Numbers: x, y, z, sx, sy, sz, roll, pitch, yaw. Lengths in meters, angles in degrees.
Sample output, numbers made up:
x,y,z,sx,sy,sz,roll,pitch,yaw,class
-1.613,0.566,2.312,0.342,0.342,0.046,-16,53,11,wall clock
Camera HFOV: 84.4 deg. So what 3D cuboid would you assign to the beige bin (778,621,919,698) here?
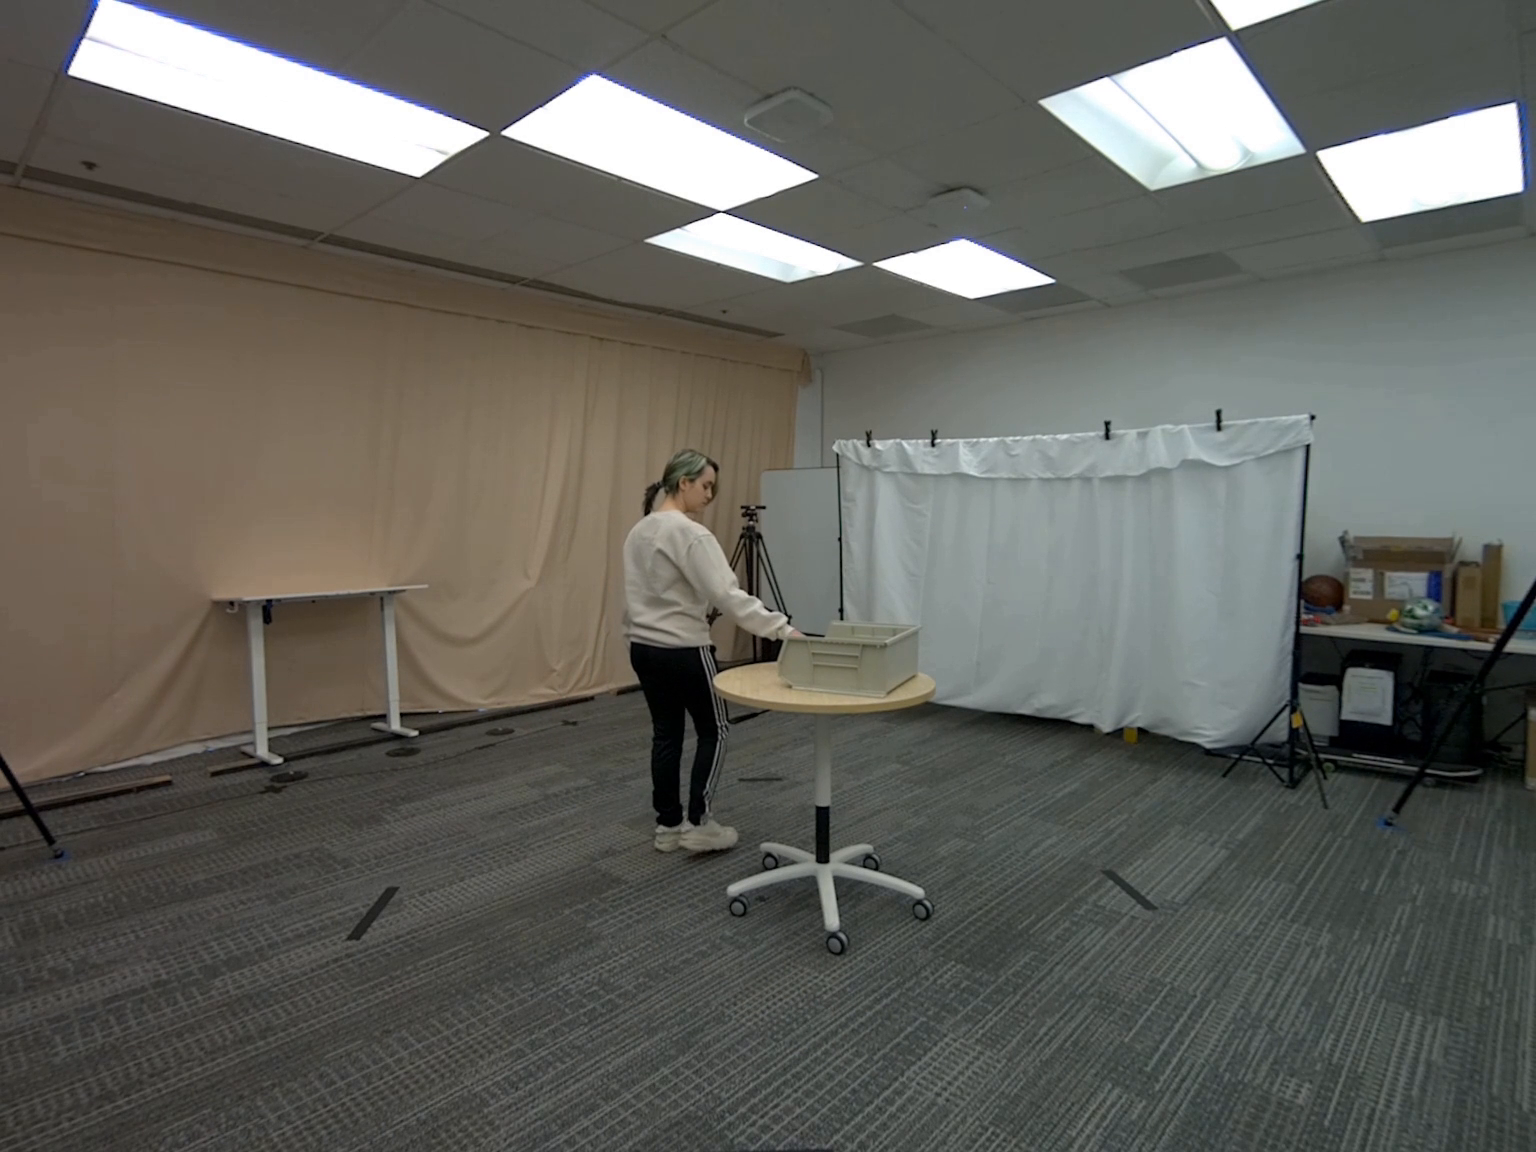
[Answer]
x,y,z,sx,sy,sz,roll,pitch,yaw,class
0.296,0.274,2.890,0.387,0.188,0.412,3,5,26,beige bin
